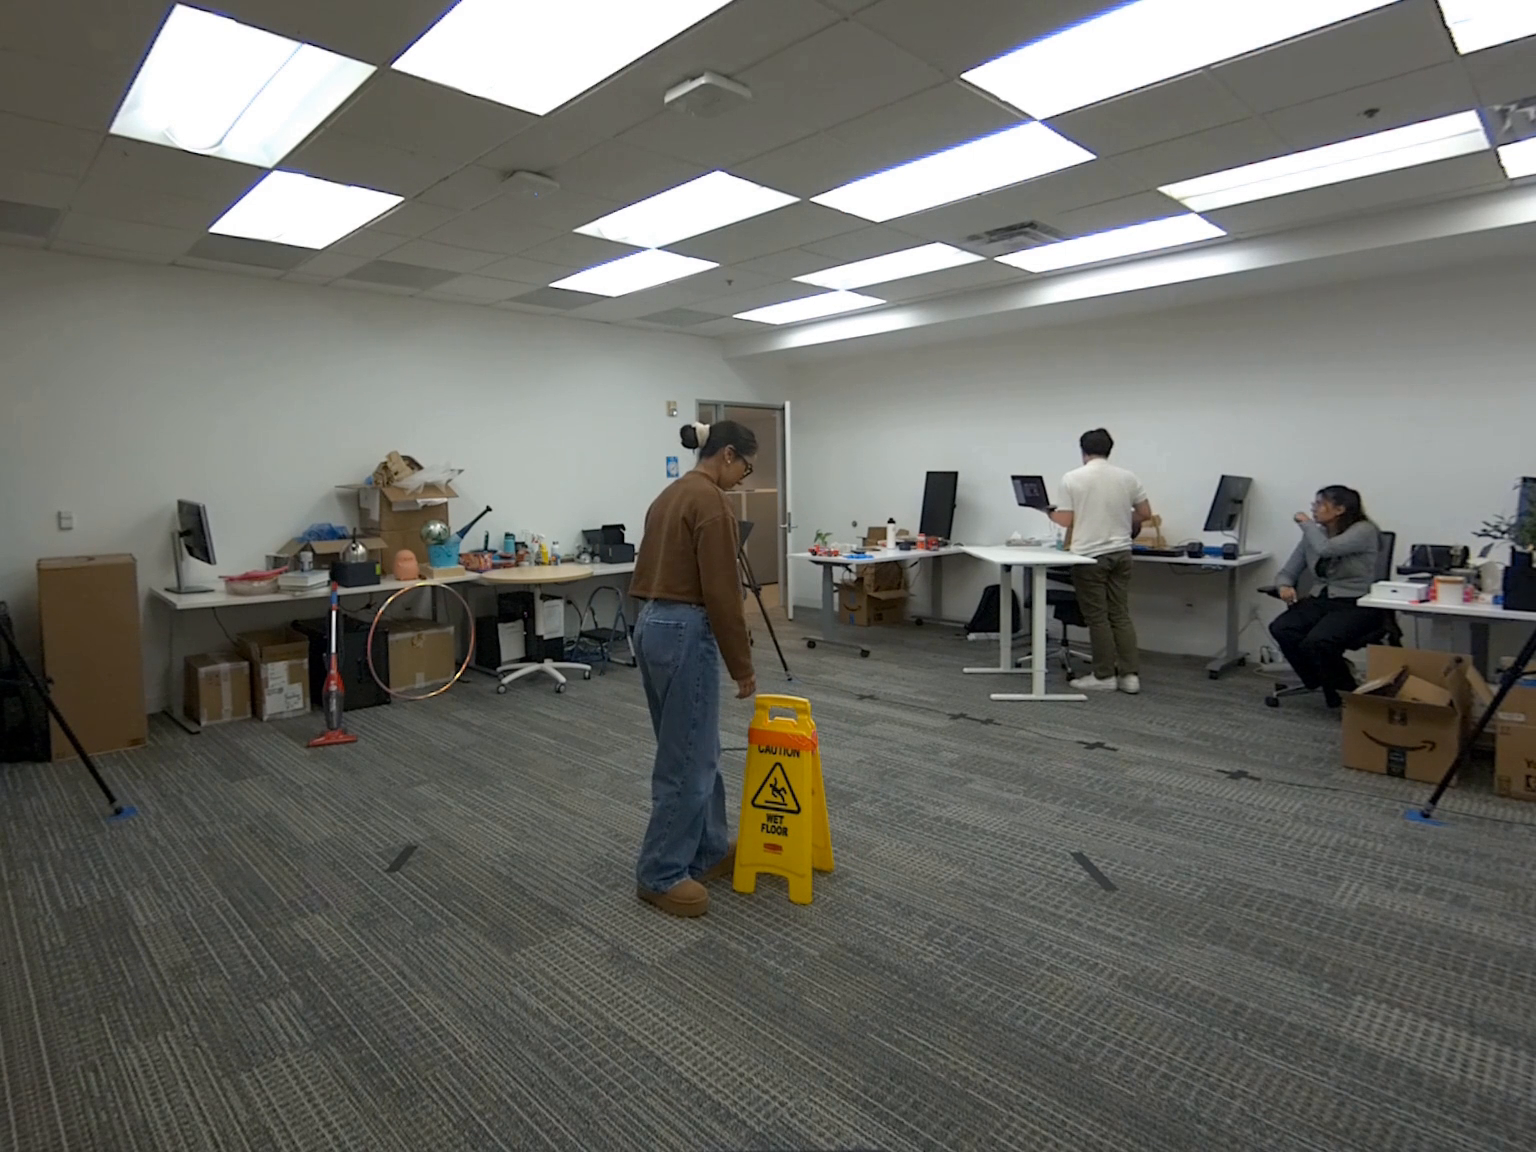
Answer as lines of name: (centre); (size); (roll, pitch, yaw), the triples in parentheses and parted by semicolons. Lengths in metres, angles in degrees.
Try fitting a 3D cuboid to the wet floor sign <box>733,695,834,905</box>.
wet floor sign: (0.056, 0.736, 2.946); (0.288, 0.644, 0.285); (0, 4, 21)
